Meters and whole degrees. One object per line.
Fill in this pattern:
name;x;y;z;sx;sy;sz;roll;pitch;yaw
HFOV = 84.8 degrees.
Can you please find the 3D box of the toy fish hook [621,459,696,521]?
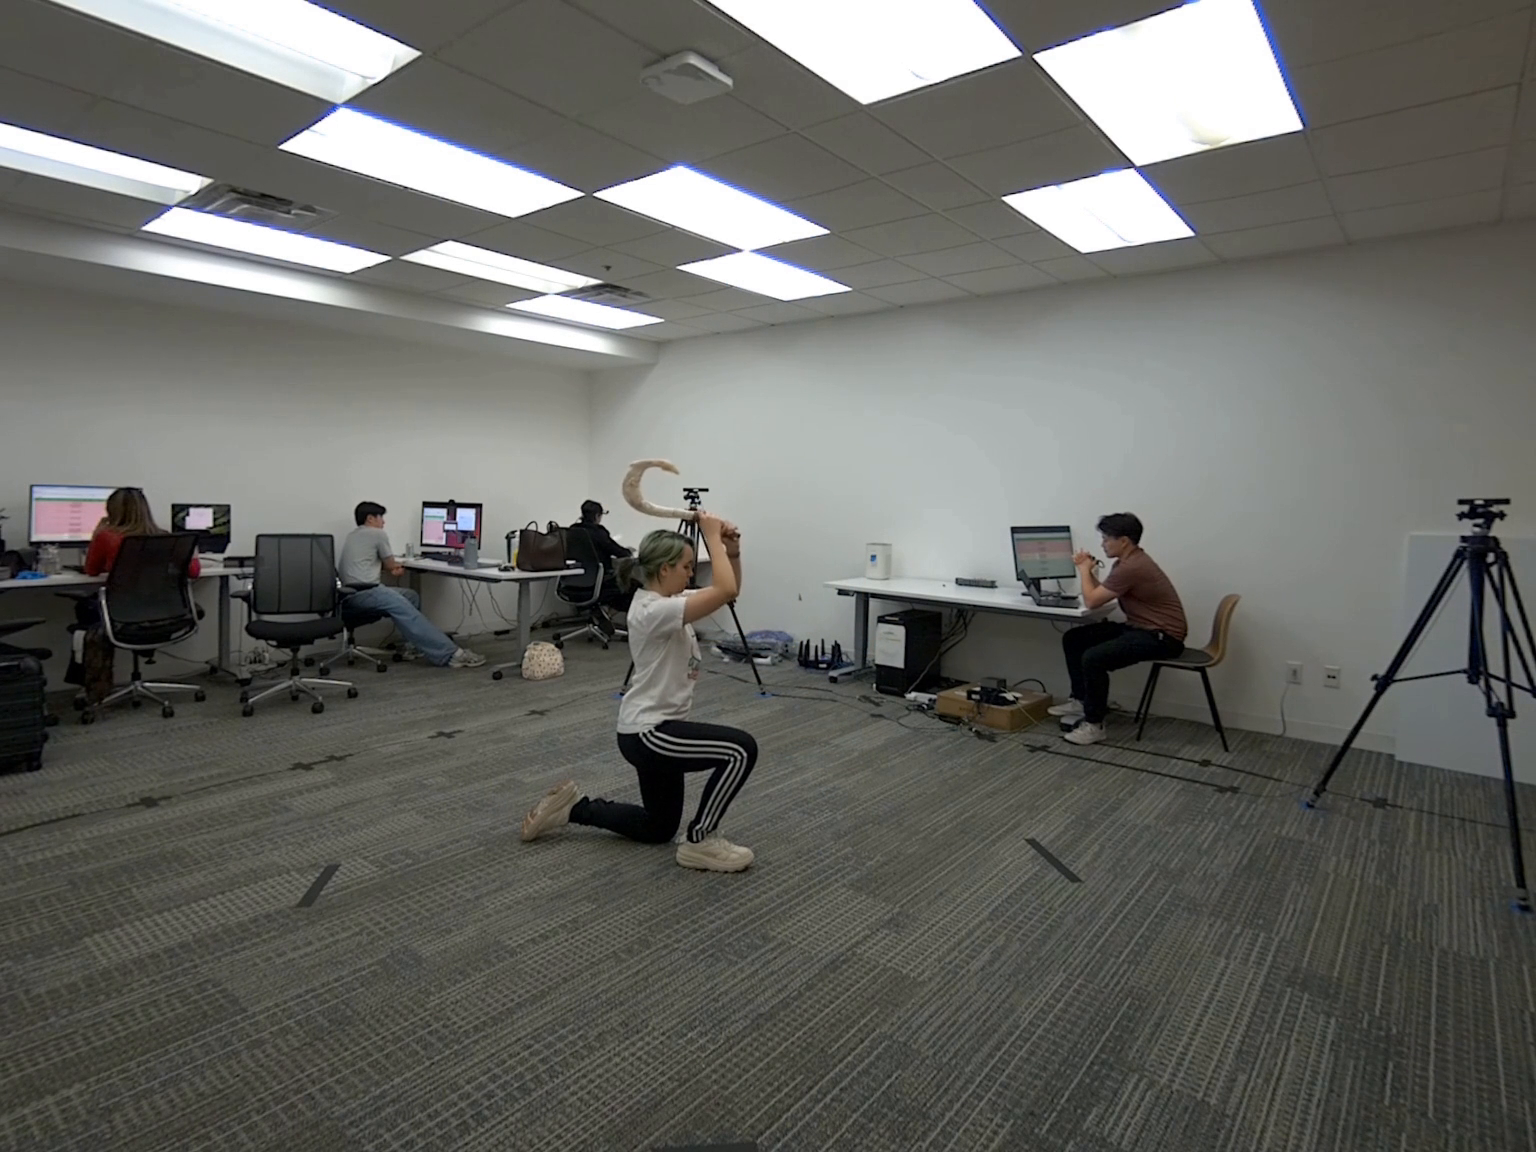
toy fish hook;-0.323;-0.299;3.302;0.510;0.223;0.048;21;10;5
